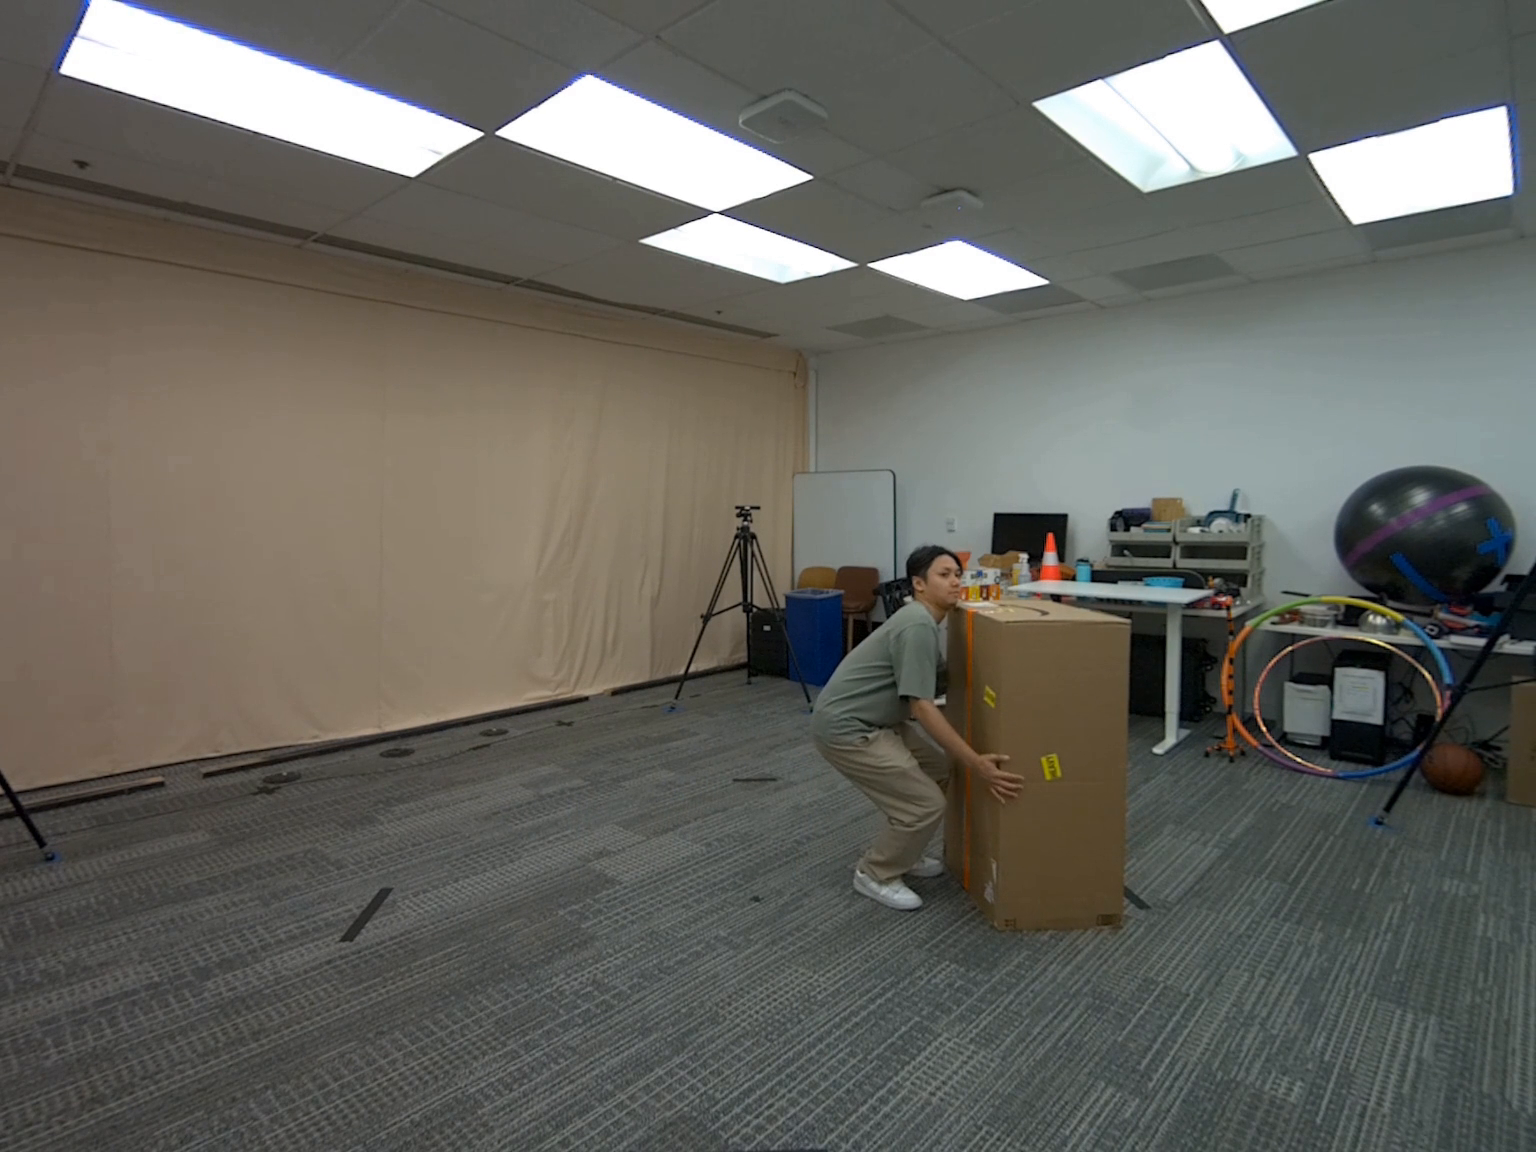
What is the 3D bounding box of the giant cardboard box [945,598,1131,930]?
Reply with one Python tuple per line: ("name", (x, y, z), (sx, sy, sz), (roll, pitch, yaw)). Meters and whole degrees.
("giant cardboard box", (0.936, 0.630, 3.014), (0.424, 1.024, 0.581), (0, 3, -5))
